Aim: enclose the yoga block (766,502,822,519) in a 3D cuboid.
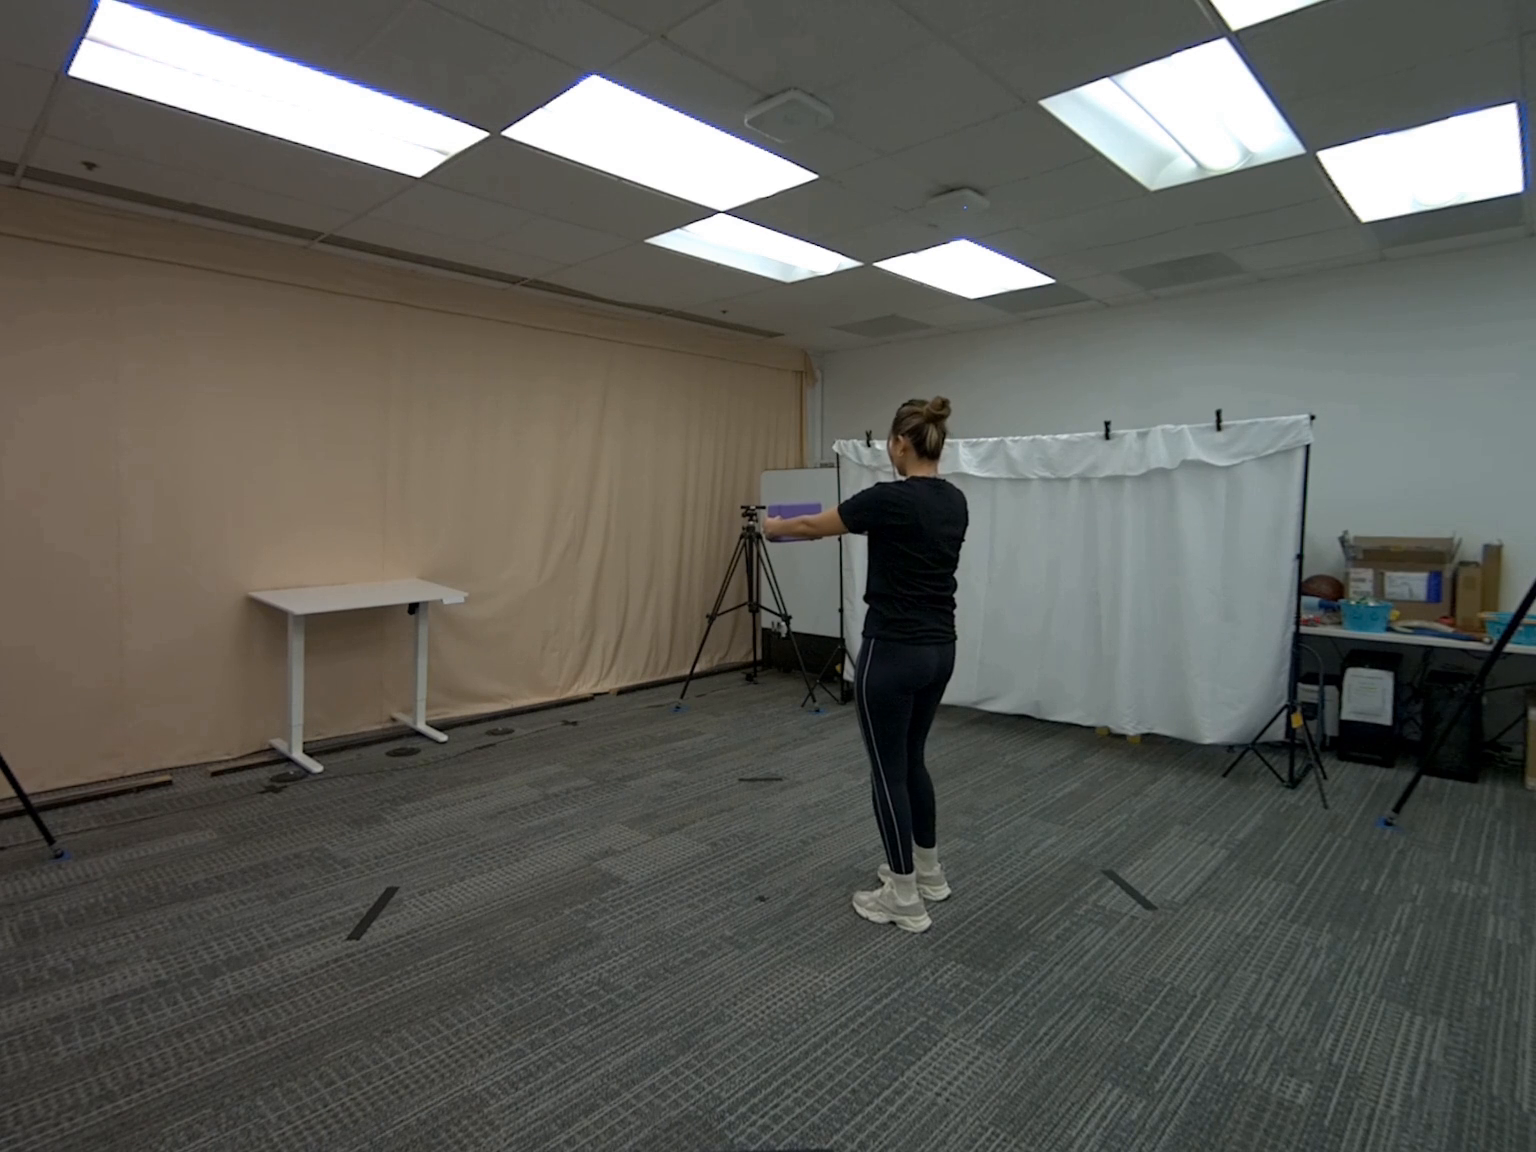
[{"bbox_3d":[0.116,-0.210,3.259,0.223,0.148,0.079,-6,4,-33],"label":"yoga block"}]
